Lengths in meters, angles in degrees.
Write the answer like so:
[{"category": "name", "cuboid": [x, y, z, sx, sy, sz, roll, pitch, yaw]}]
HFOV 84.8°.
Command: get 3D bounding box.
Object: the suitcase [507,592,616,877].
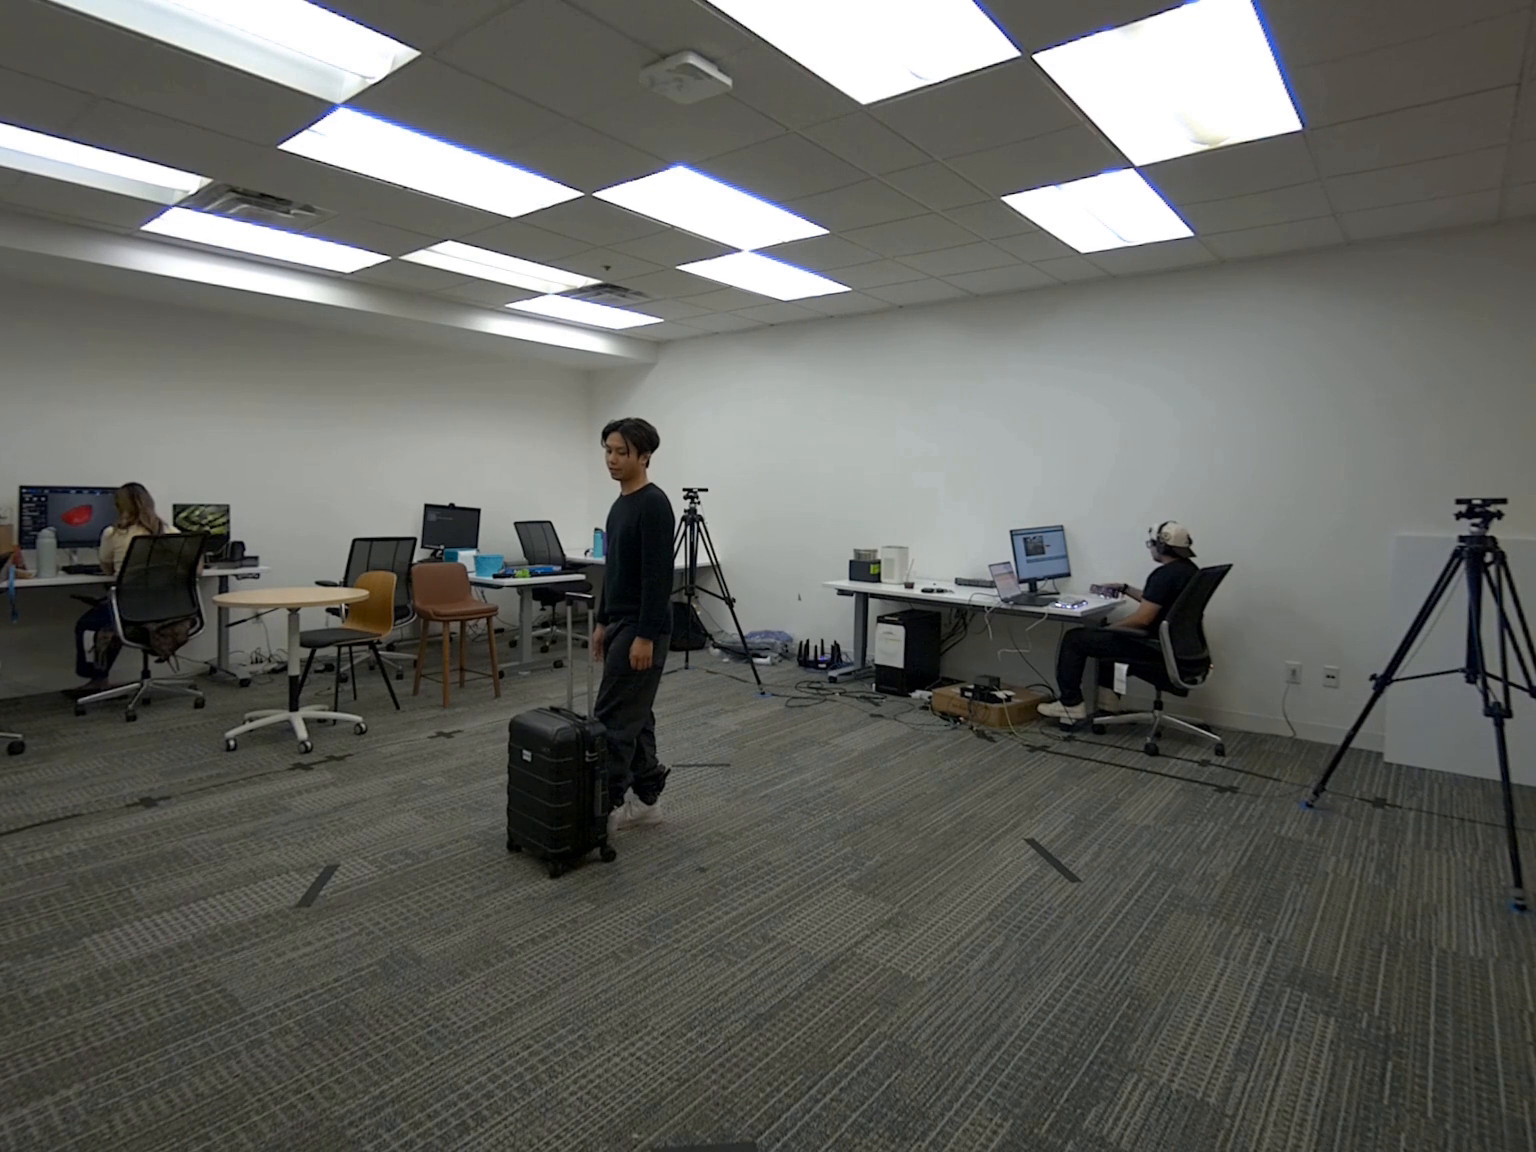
[{"category": "suitcase", "cuboid": [-0.806, 0.582, 3.150, 0.250, 0.972, 0.397, -6, 9, -44]}]
